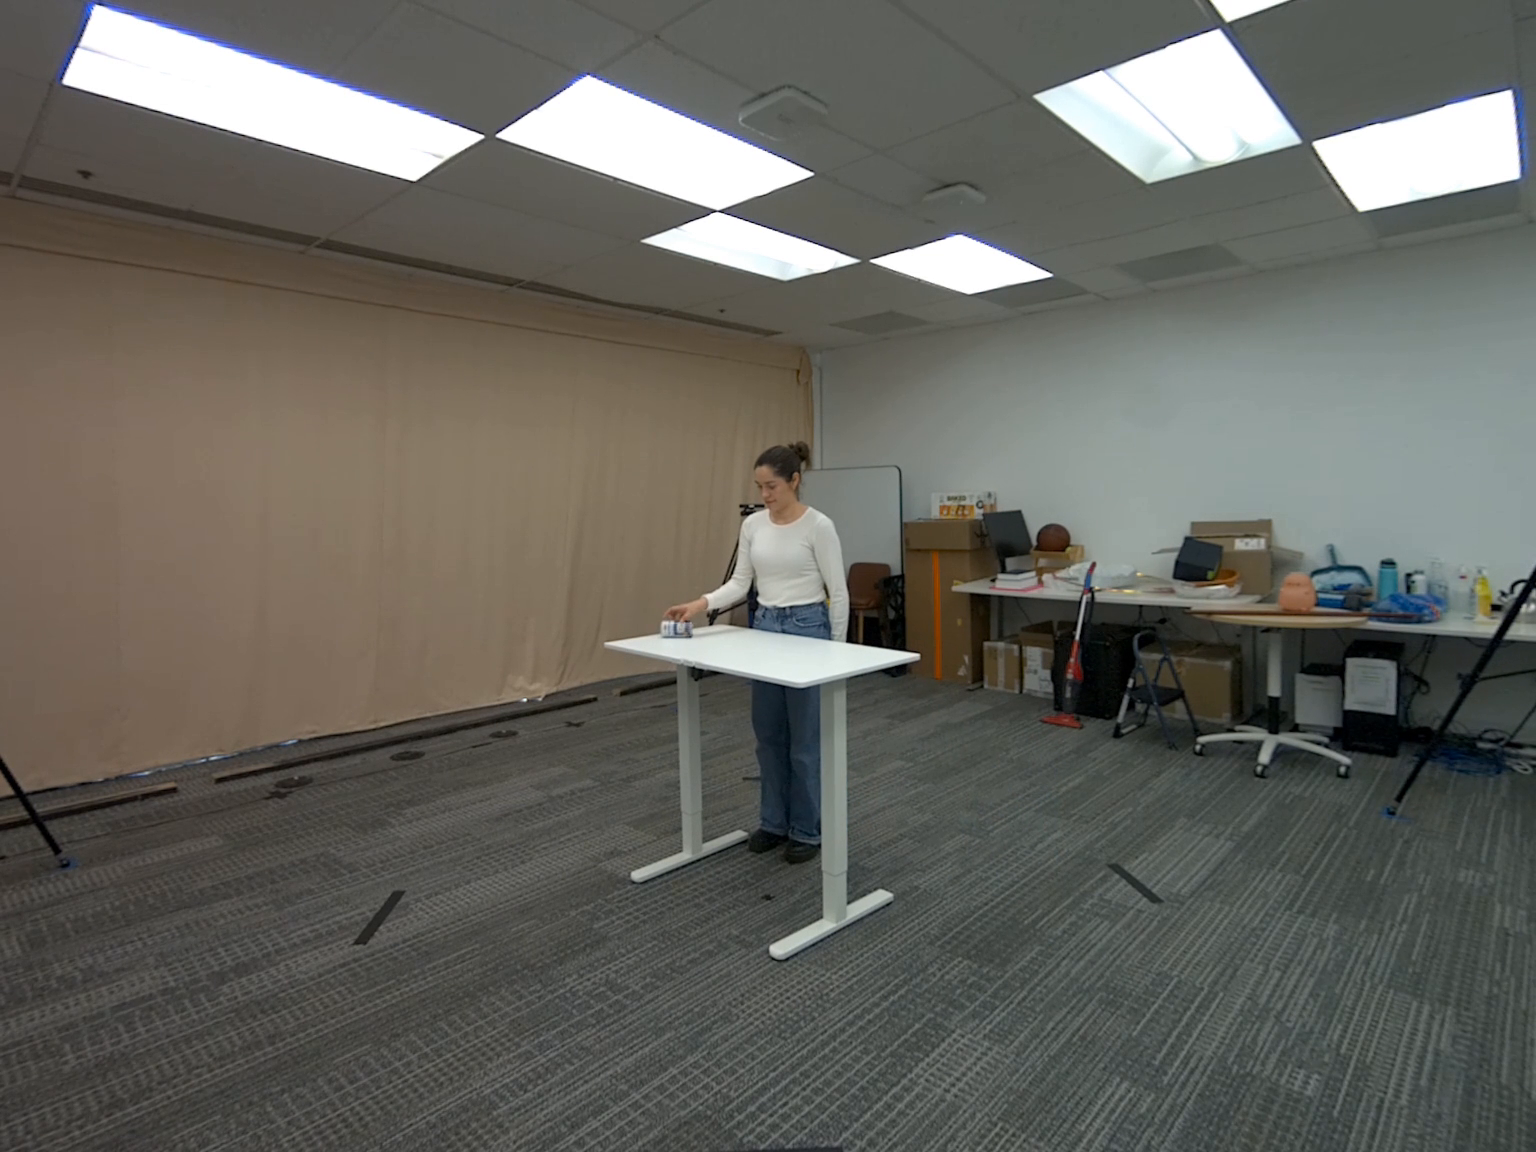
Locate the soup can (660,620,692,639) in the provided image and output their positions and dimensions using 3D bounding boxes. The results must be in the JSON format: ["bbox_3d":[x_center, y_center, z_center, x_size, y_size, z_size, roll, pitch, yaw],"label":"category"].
[{"bbox_3d":[-0.349,0.204,3.251,0.122,0.067,0.067,-3,4,7],"label":"soup can"}]
